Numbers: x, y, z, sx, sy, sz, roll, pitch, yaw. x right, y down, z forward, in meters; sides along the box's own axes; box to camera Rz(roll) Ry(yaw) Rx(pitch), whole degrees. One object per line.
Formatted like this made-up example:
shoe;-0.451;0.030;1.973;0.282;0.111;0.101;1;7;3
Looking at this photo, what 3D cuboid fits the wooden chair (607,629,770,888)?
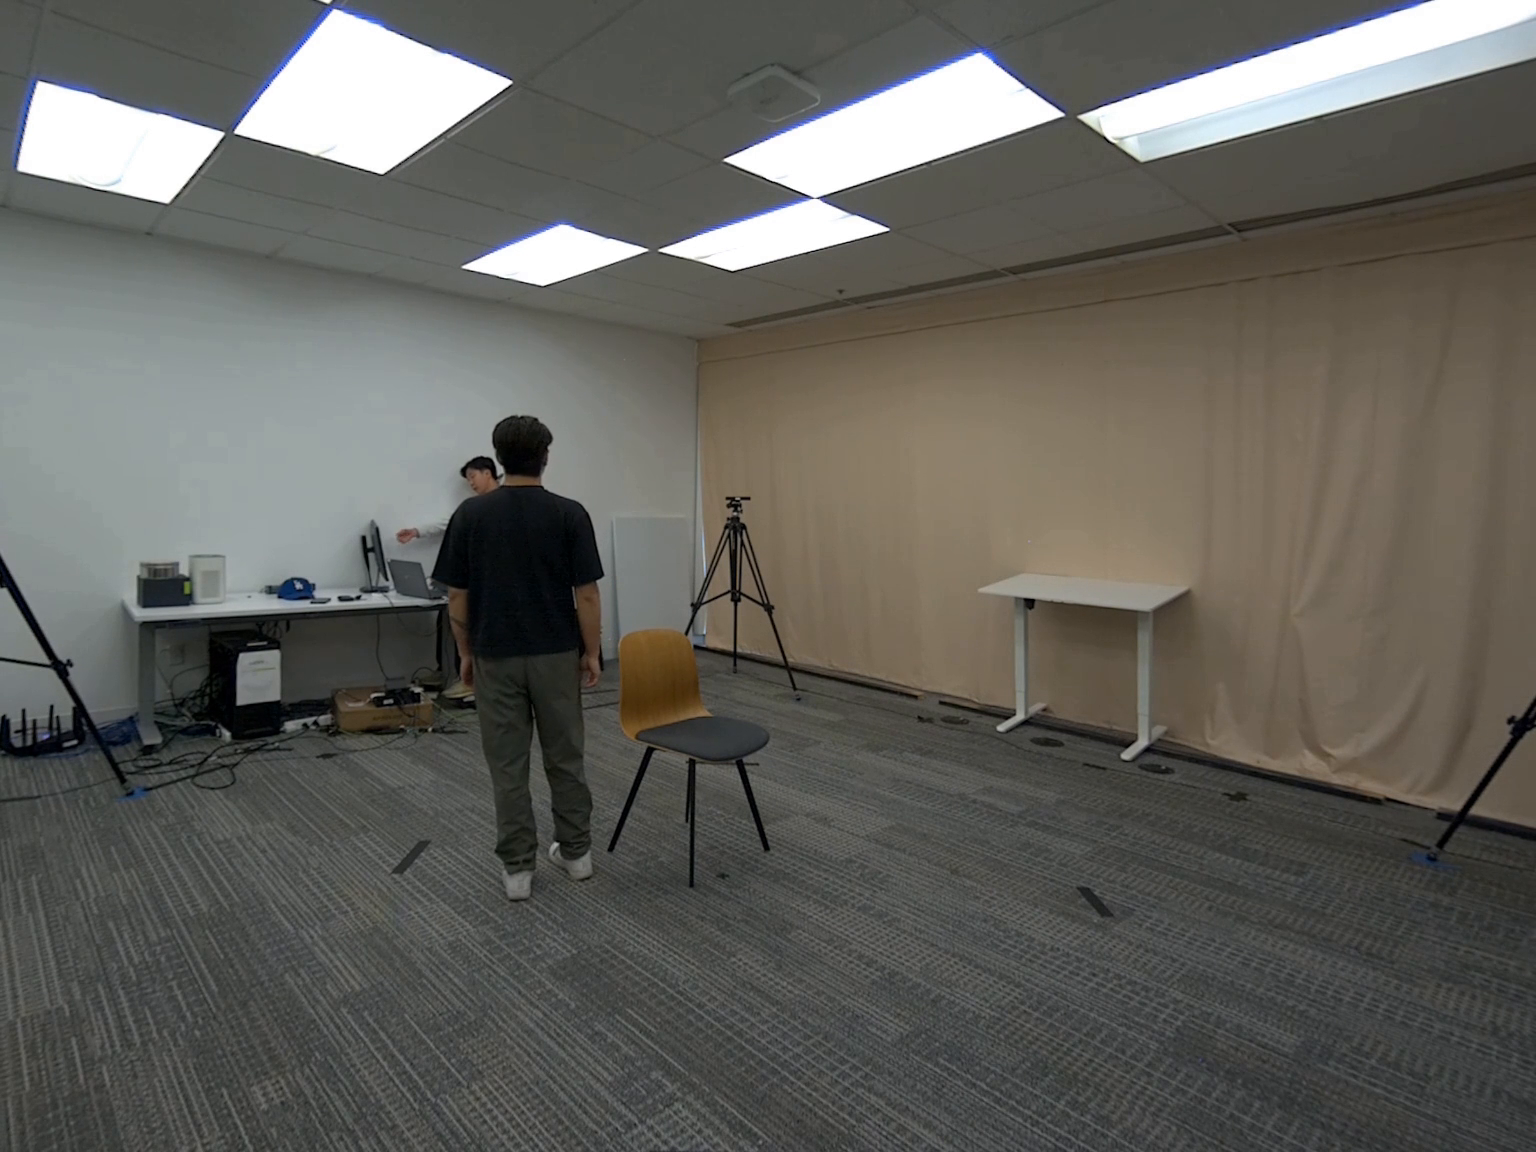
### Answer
wooden chair;-0.296;0.660;3.281;0.535;0.877;0.467;-1;1;39
